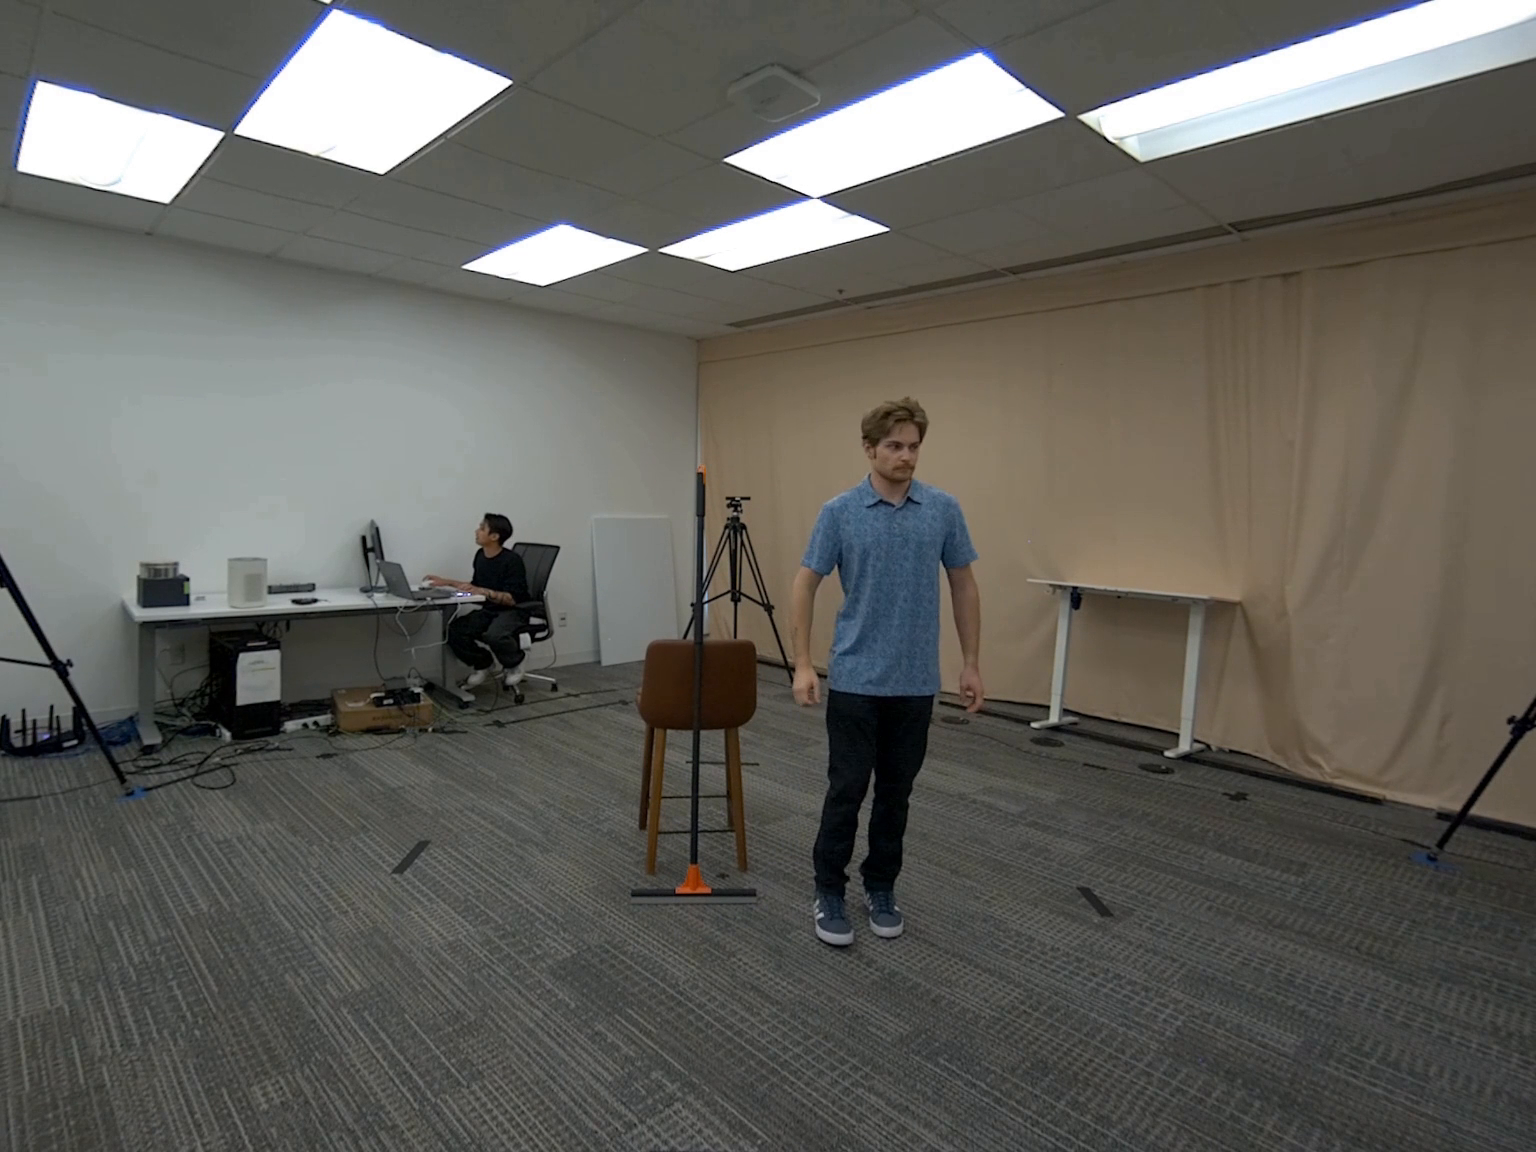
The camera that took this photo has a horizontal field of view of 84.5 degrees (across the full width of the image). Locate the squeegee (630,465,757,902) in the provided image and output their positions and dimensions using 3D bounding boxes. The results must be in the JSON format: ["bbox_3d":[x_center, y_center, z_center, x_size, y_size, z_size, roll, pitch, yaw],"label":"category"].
[{"bbox_3d":[-0.243,0.351,3.002,0.439,1.543,0.052,1,-5,3],"label":"squeegee"}]
